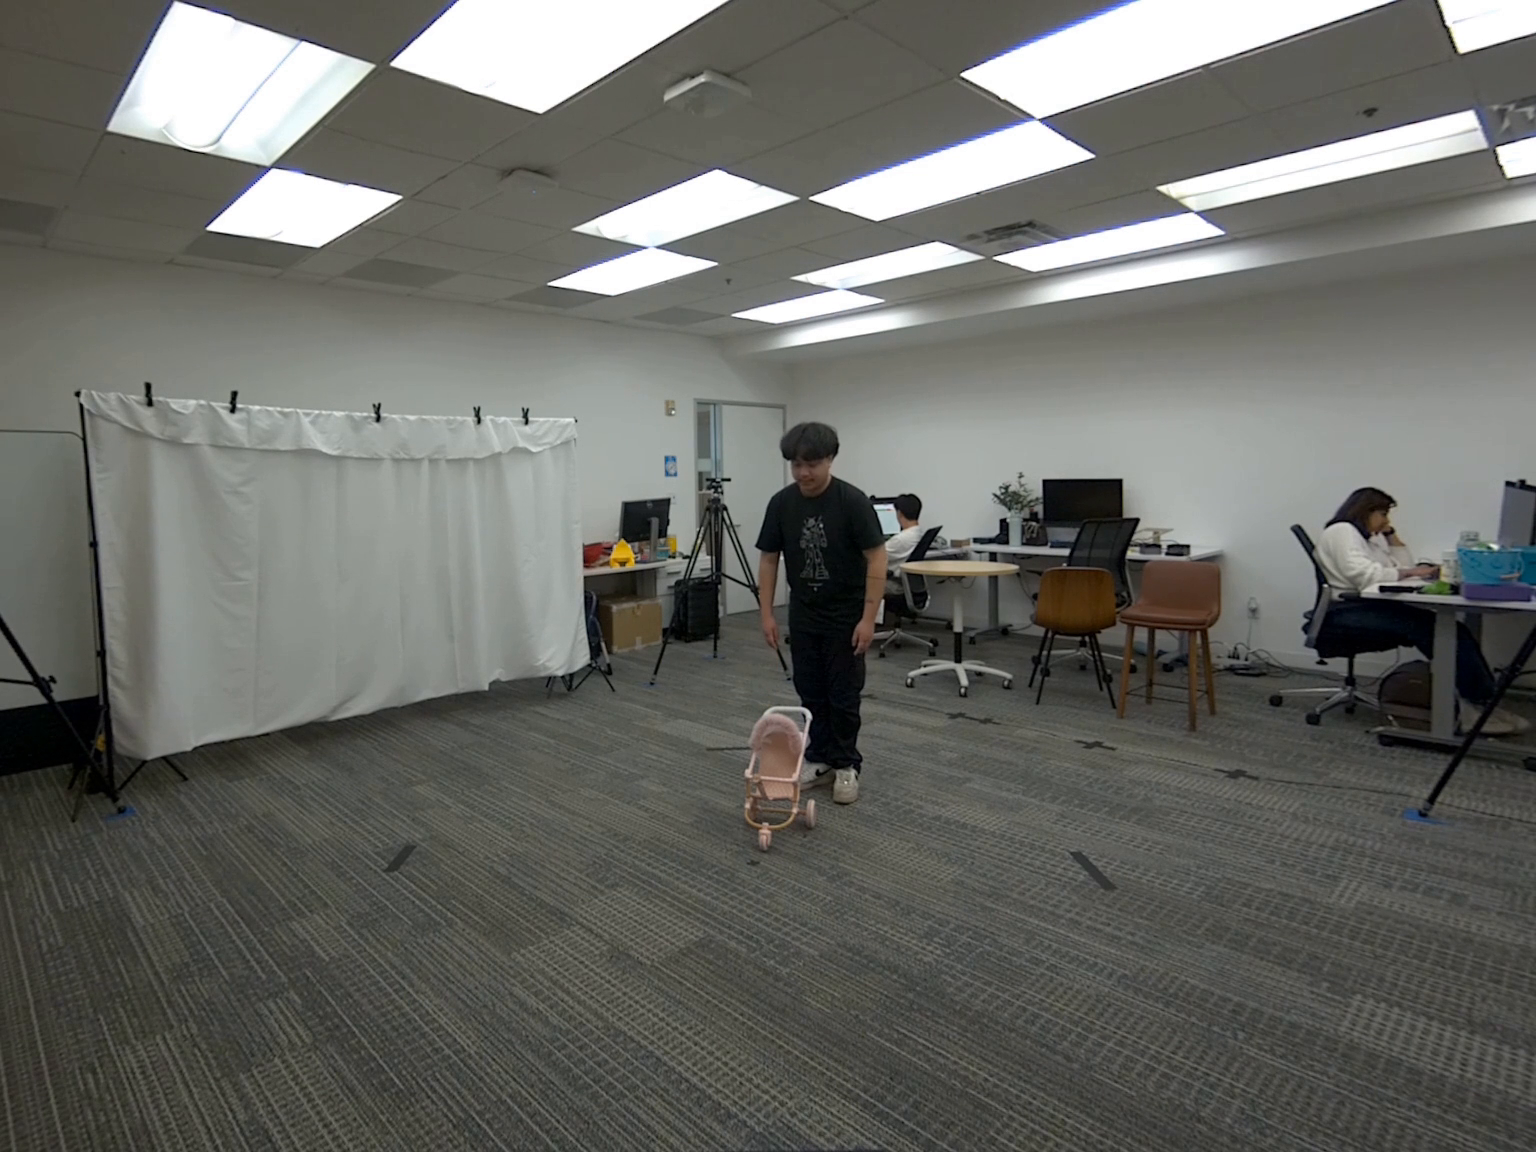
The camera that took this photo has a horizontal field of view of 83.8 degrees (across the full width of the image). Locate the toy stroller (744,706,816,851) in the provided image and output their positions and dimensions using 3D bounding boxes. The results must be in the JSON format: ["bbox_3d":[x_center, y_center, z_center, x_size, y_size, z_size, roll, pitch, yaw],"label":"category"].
[{"bbox_3d":[0.030,0.785,3.377,0.287,0.540,0.332,0,-11,21],"label":"toy stroller"}]
